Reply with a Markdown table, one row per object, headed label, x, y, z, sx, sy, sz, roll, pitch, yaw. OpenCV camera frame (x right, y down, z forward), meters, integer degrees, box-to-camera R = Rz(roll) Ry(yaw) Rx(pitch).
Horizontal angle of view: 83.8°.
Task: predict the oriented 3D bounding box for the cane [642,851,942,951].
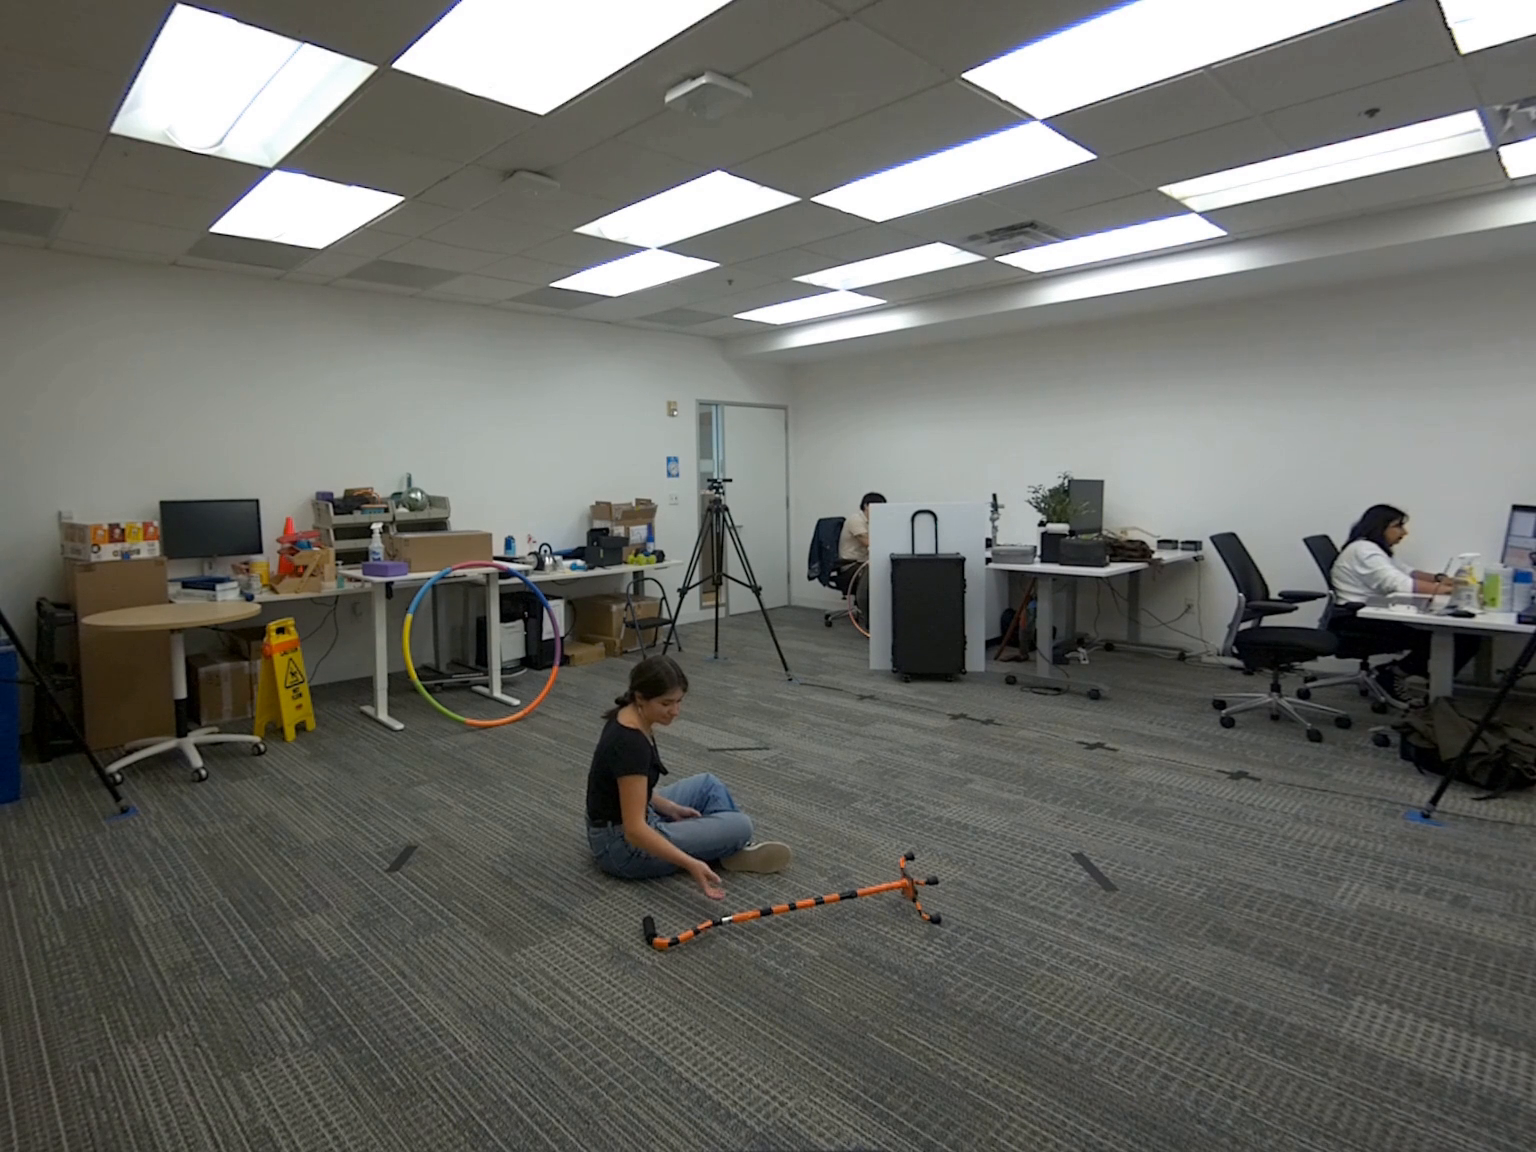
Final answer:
| label | x | y | z | sx | sy | sz | roll | pitch | yaw |
| --- | --- | --- | --- | --- | --- | --- | --- | --- | --- |
| cane | 0.077 | 1.043 | 2.680 | 0.900 | 0.150 | 0.210 | -7 | 8 | -10 |
